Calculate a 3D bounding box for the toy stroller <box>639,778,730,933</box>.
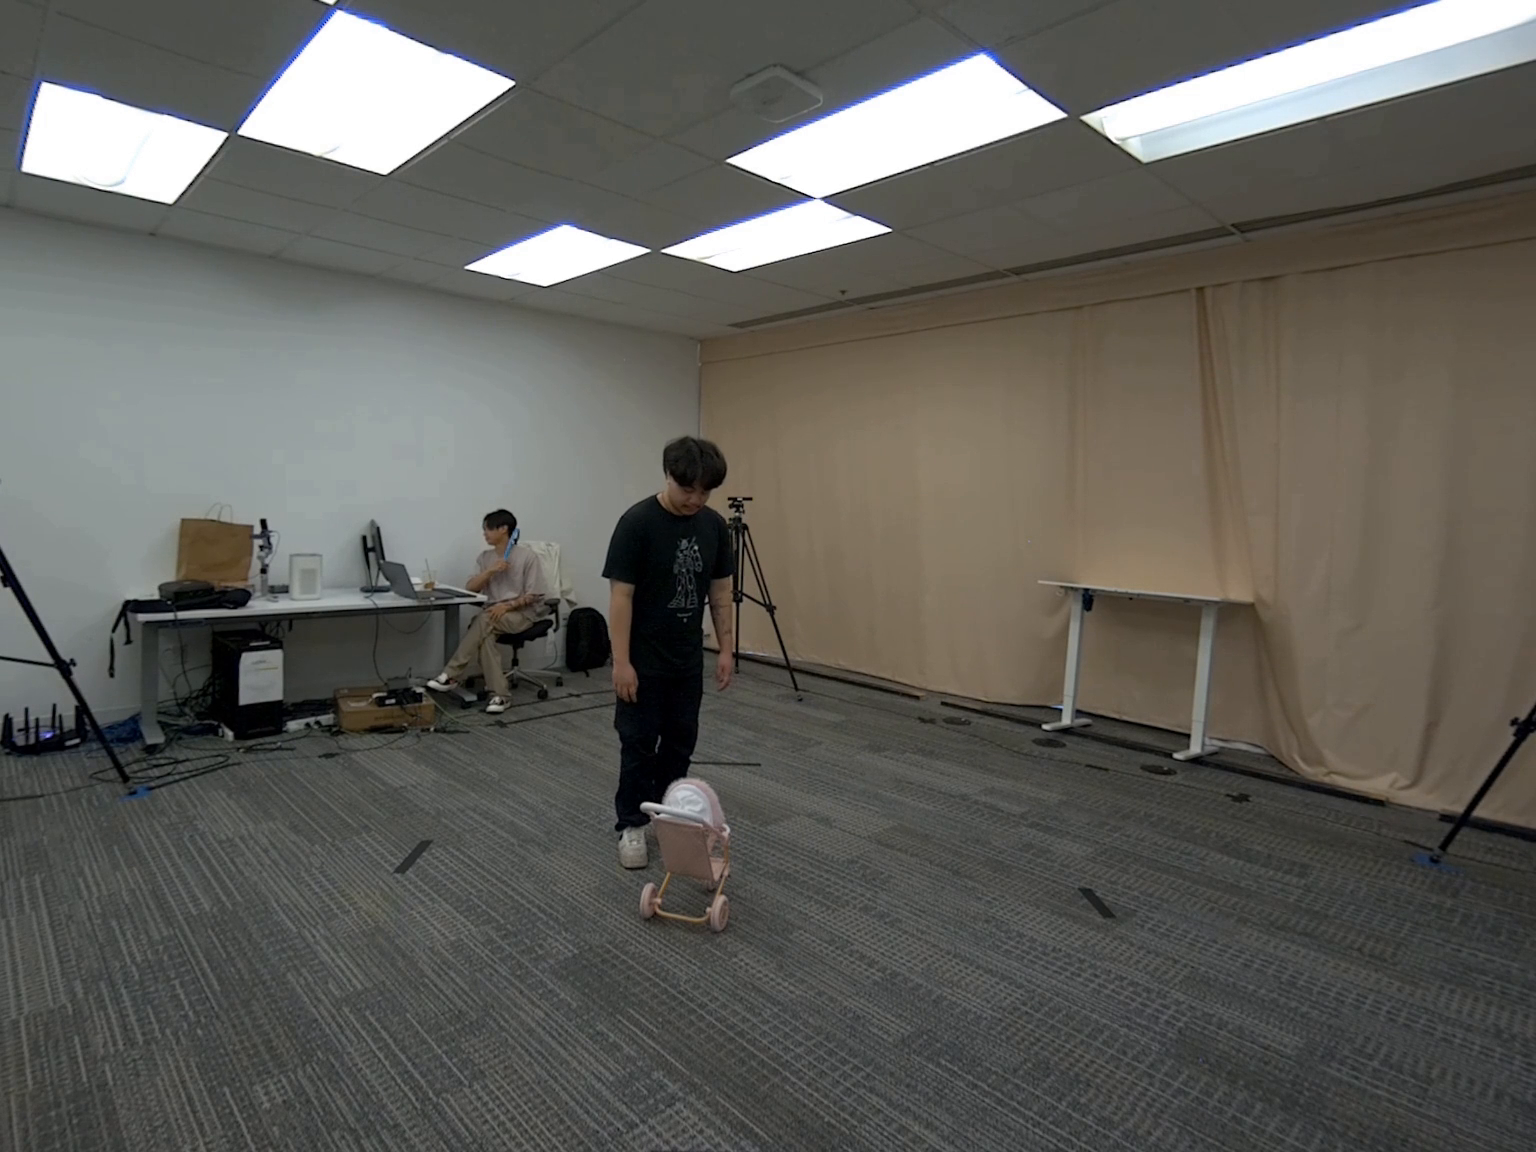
[{"bbox_3d":[-0.253,0.911,2.800,0.286,0.528,0.340,4,19,21],"label":"toy stroller"}]
